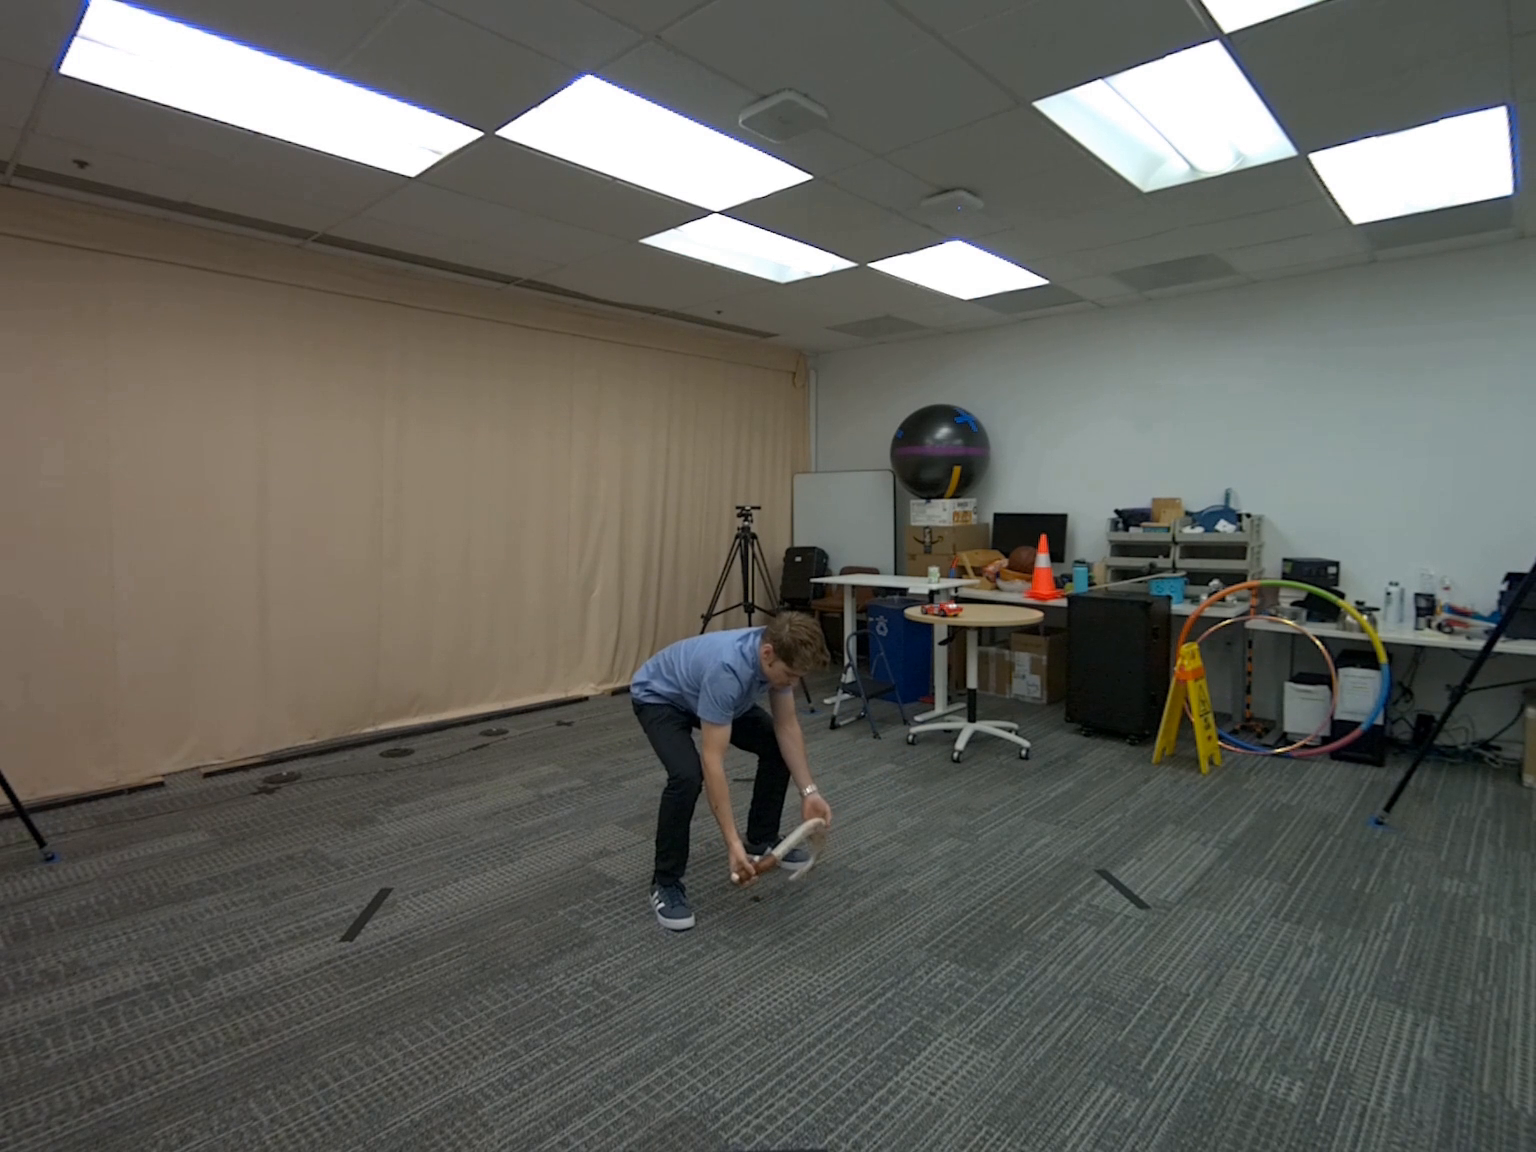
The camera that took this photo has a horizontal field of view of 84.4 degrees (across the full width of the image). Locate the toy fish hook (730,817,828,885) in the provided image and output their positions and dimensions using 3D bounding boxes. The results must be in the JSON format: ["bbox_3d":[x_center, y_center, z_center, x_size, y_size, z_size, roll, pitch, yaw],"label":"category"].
[{"bbox_3d":[0.055,0.992,2.866,0.050,0.223,0.493,10,15,40],"label":"toy fish hook"}]
